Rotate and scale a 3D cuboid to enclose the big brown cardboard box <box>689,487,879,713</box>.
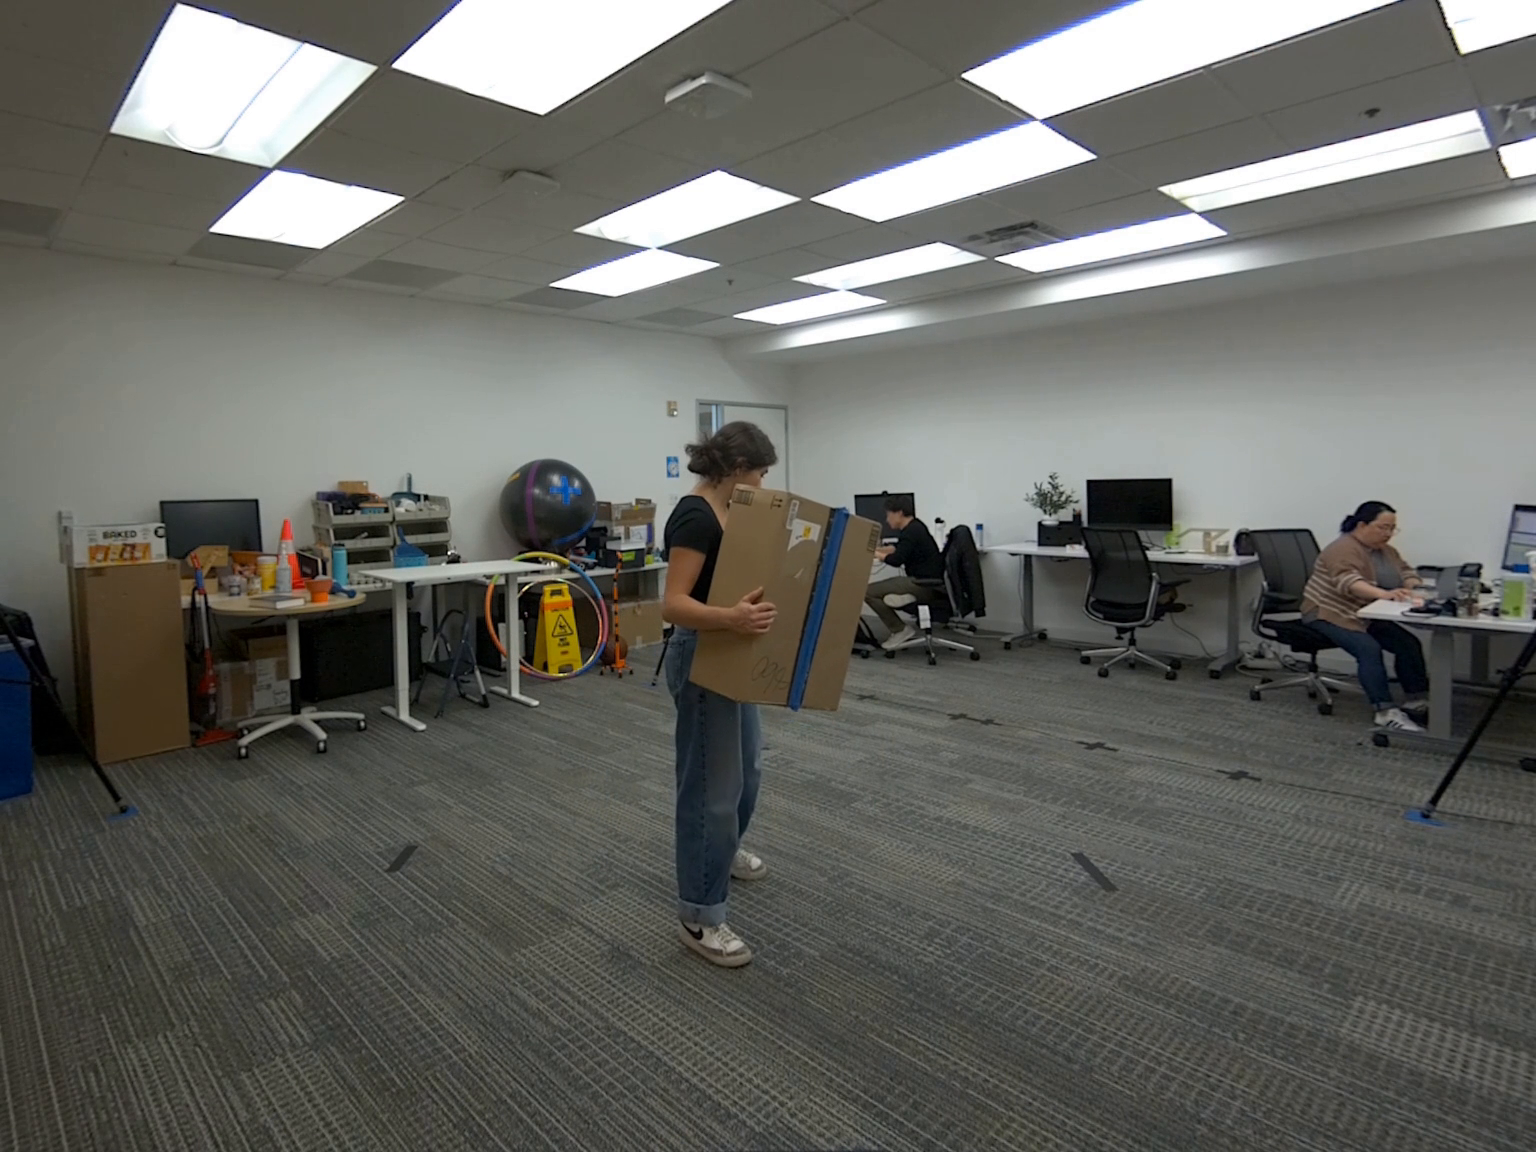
[{"bbox_3d":[0.066,0.067,2.439,0.241,0.589,0.403,13,0,44],"label":"big brown cardboard box"}]
